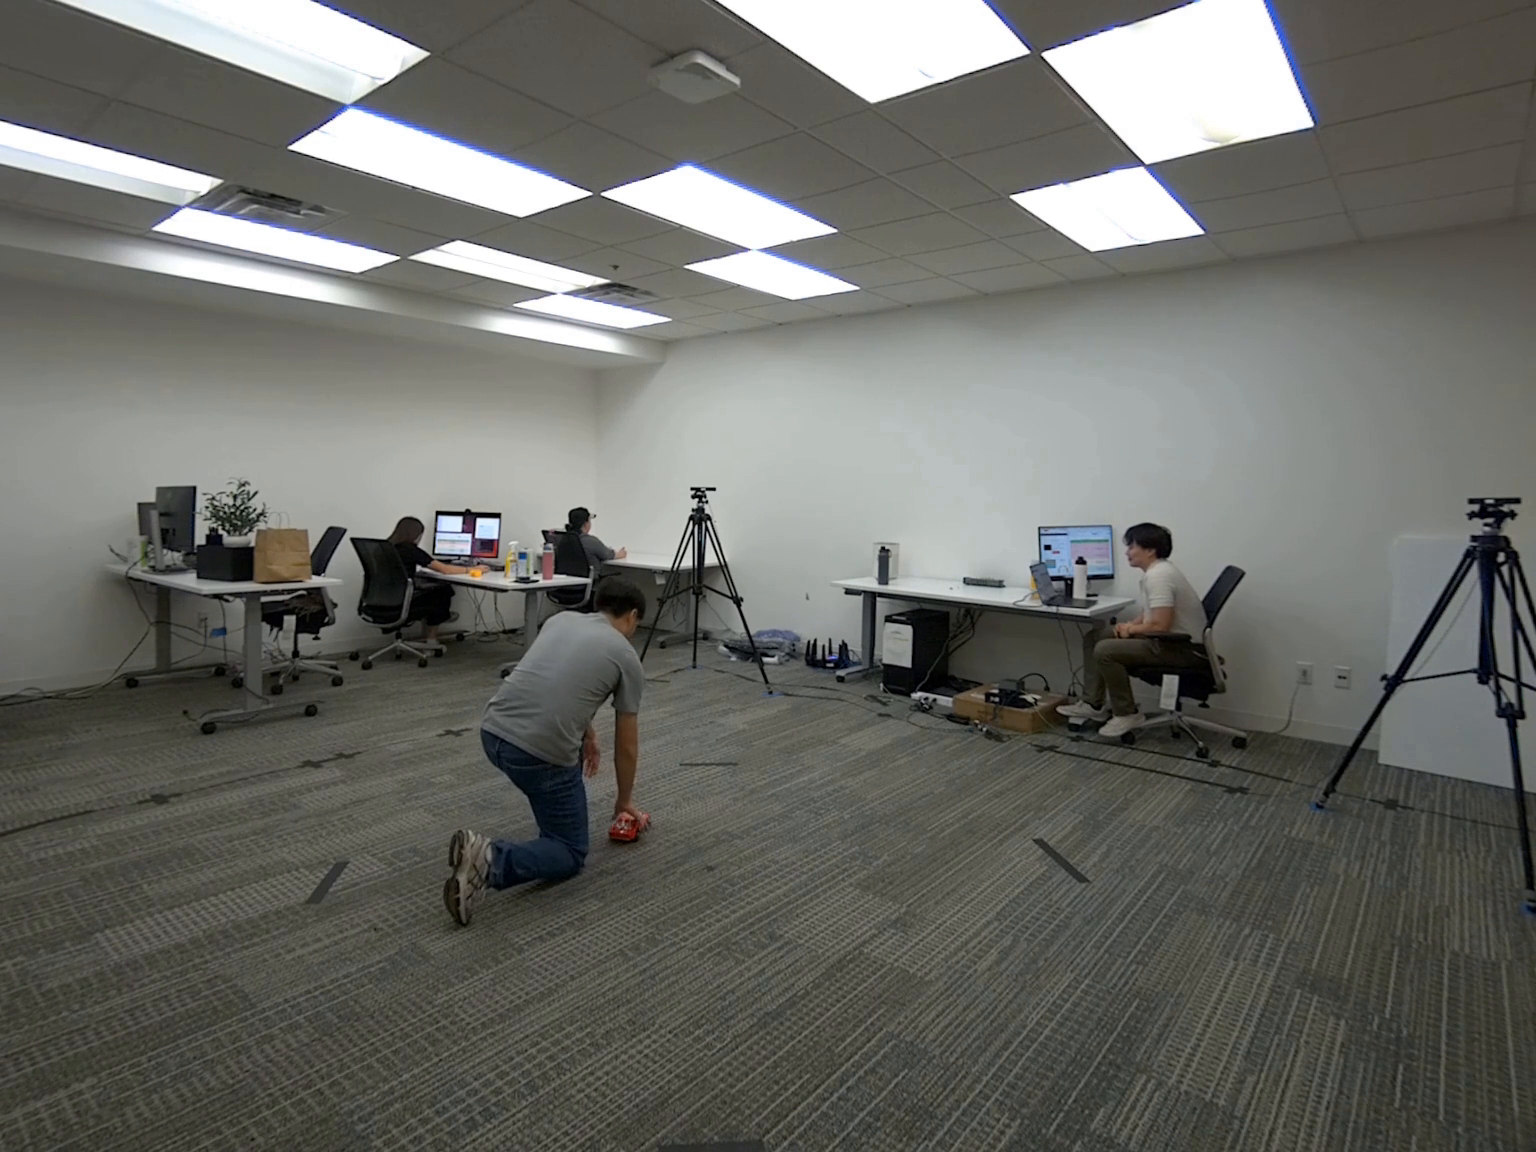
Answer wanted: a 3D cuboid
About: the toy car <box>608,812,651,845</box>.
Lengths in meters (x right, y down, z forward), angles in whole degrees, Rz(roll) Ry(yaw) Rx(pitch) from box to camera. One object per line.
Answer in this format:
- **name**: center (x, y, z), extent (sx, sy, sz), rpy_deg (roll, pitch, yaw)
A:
- **toy car**: center (-0.573, 1.003, 3.402), extent (0.132, 0.083, 0.249), rpy_deg (3, -5, 12)
